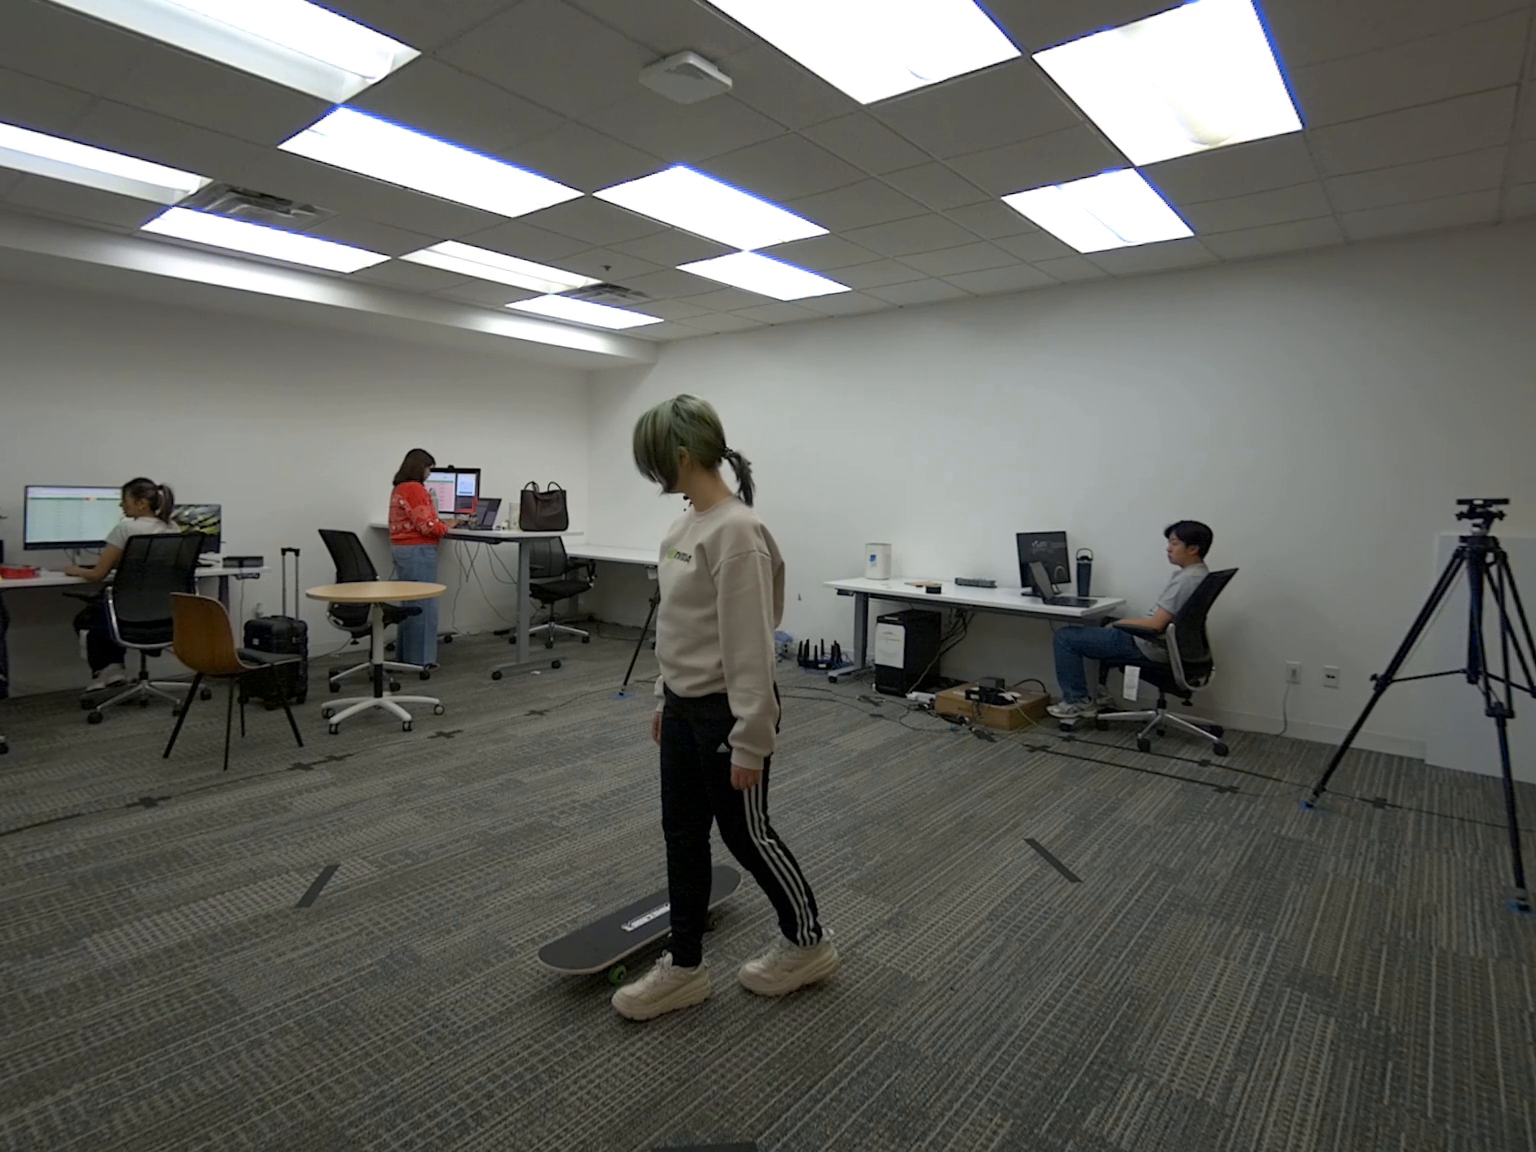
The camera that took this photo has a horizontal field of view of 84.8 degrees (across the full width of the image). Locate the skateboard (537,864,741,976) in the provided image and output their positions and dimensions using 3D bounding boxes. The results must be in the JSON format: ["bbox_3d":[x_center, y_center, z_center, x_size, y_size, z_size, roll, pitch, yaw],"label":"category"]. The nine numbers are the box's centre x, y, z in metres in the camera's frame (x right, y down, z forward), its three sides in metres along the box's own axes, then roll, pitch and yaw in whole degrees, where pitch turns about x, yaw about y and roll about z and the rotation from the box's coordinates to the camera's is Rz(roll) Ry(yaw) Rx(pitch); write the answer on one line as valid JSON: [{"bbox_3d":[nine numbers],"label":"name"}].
[{"bbox_3d":[-0.367,1.065,2.580,0.200,0.110,0.763,4,6,39],"label":"skateboard"}]
